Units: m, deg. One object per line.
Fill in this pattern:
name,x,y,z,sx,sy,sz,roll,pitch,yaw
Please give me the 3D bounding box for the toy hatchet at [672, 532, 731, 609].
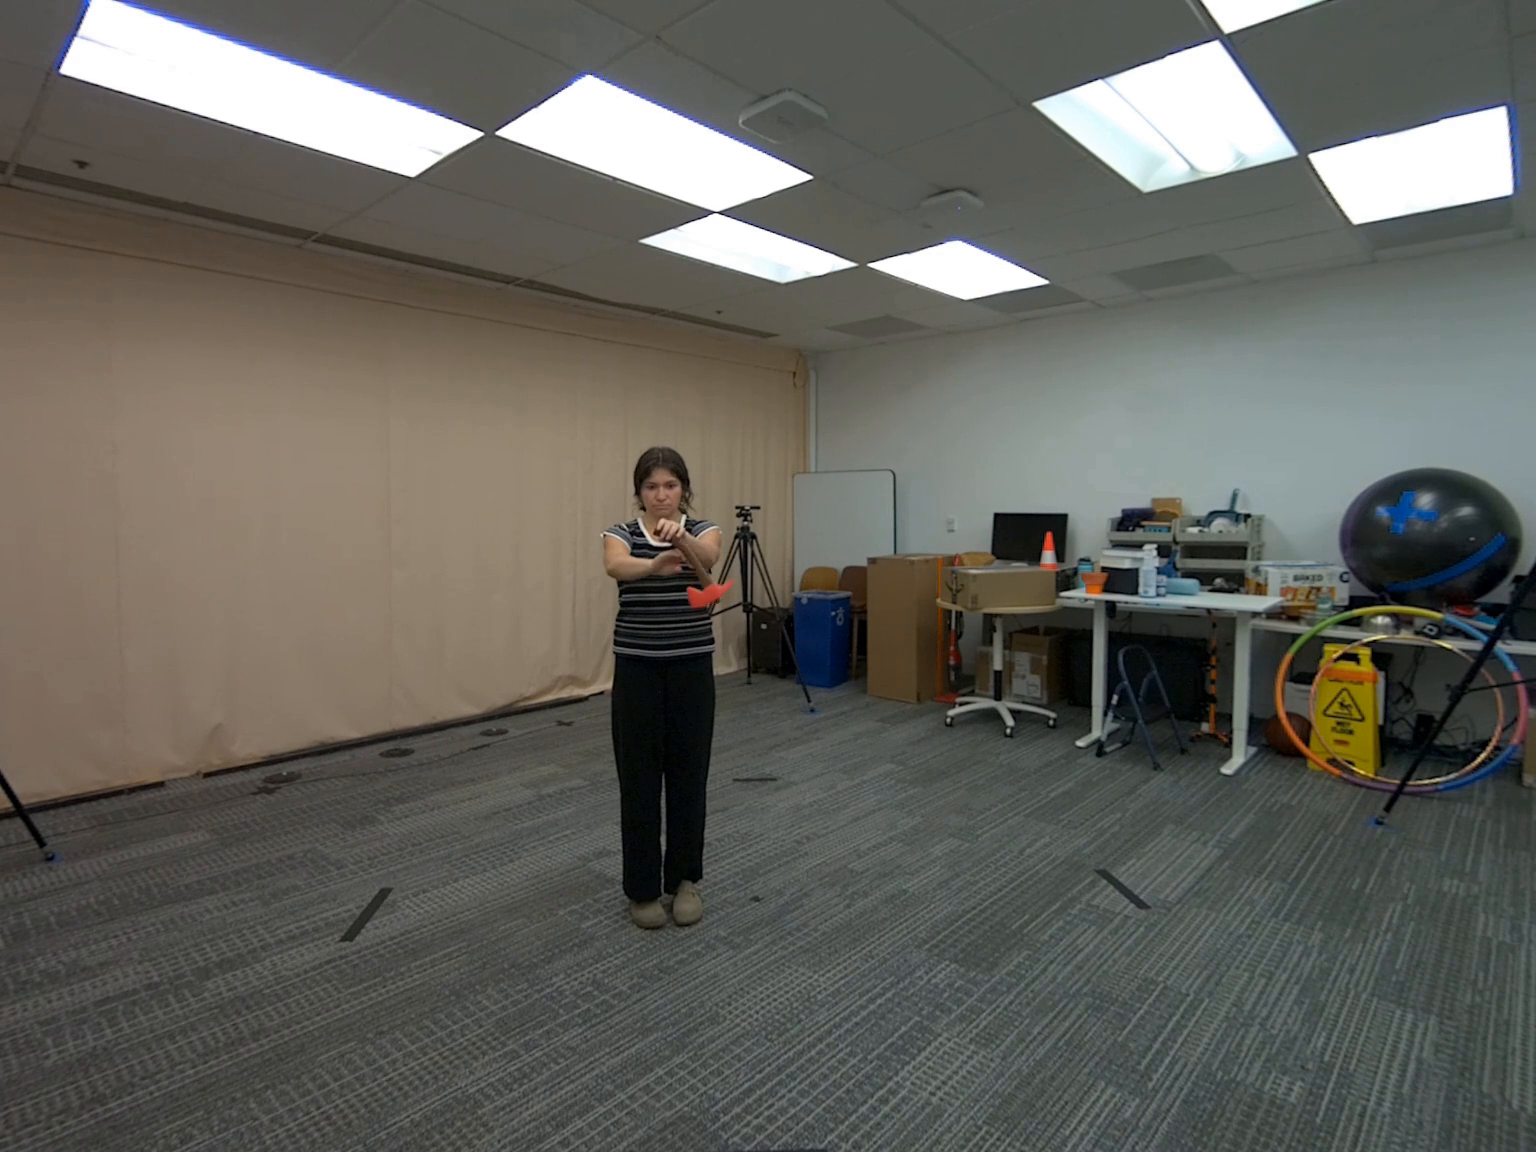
toy hatchet,-0.232,-0.017,2.317,0.270,0.131,0.029,37,9,1
